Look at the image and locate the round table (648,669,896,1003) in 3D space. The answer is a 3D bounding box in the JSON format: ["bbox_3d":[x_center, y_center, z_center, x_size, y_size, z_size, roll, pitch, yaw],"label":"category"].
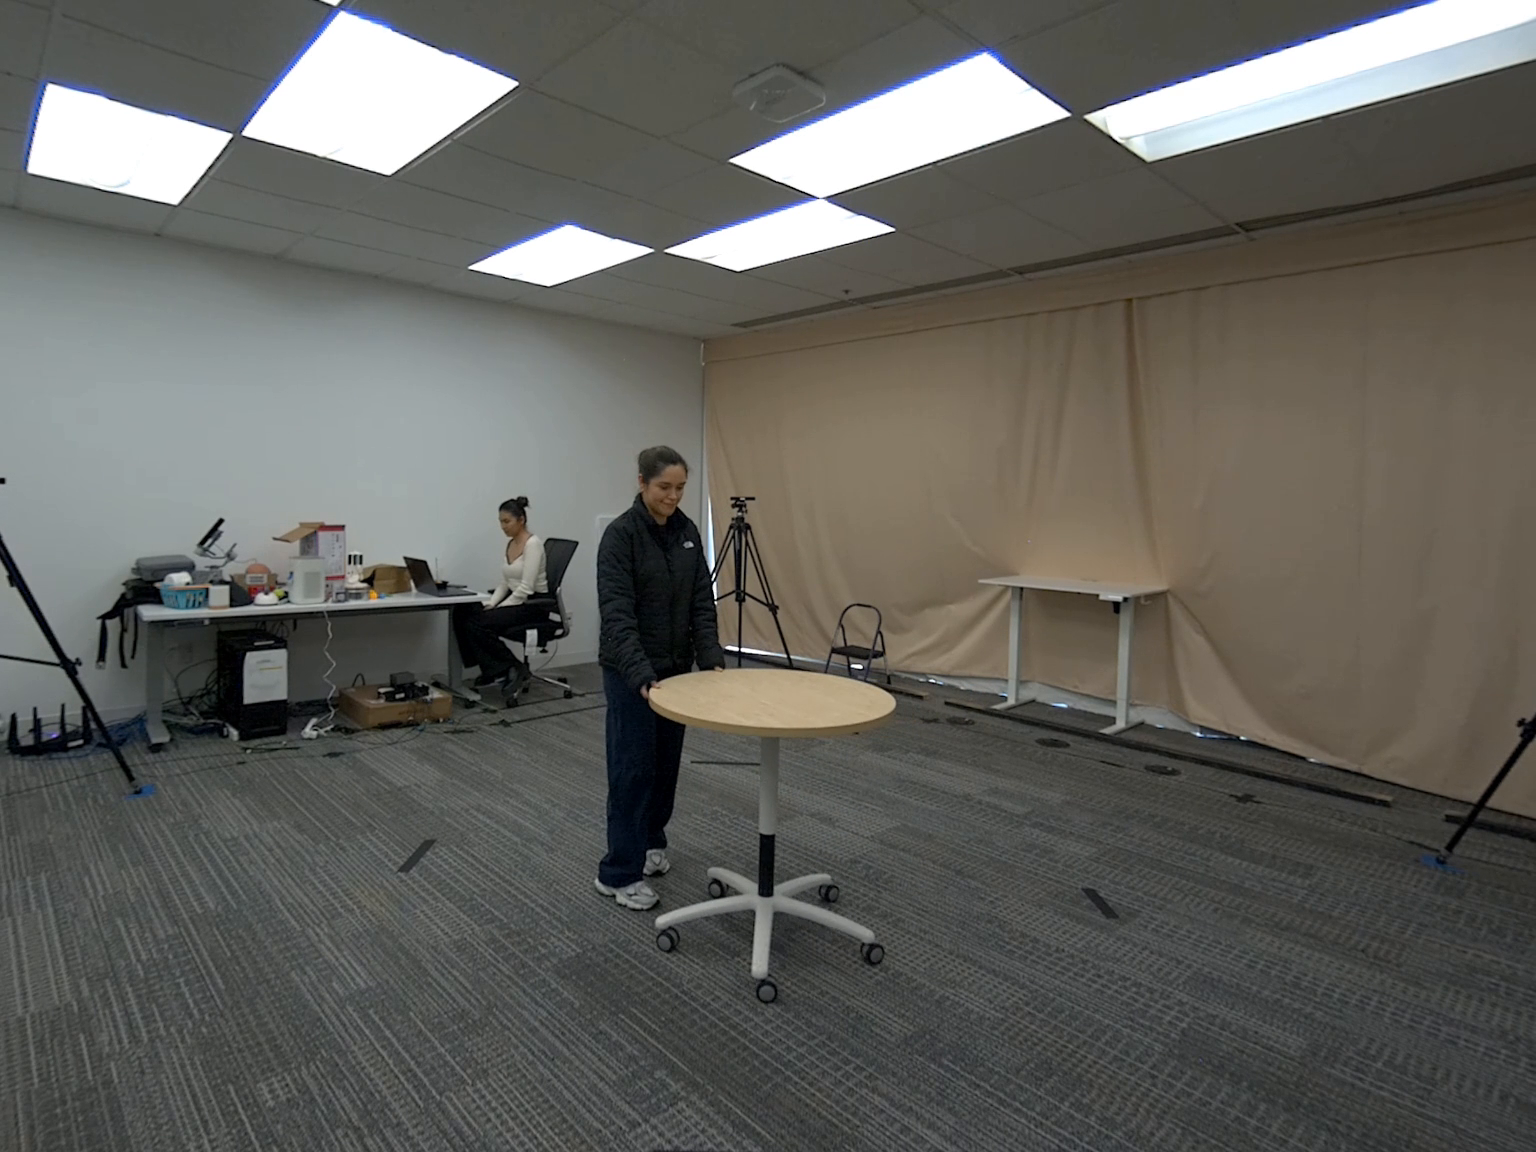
[{"bbox_3d":[0.000,0.759,2.652,0.784,0.784,0.788,2,5,-1],"label":"round table"}]
